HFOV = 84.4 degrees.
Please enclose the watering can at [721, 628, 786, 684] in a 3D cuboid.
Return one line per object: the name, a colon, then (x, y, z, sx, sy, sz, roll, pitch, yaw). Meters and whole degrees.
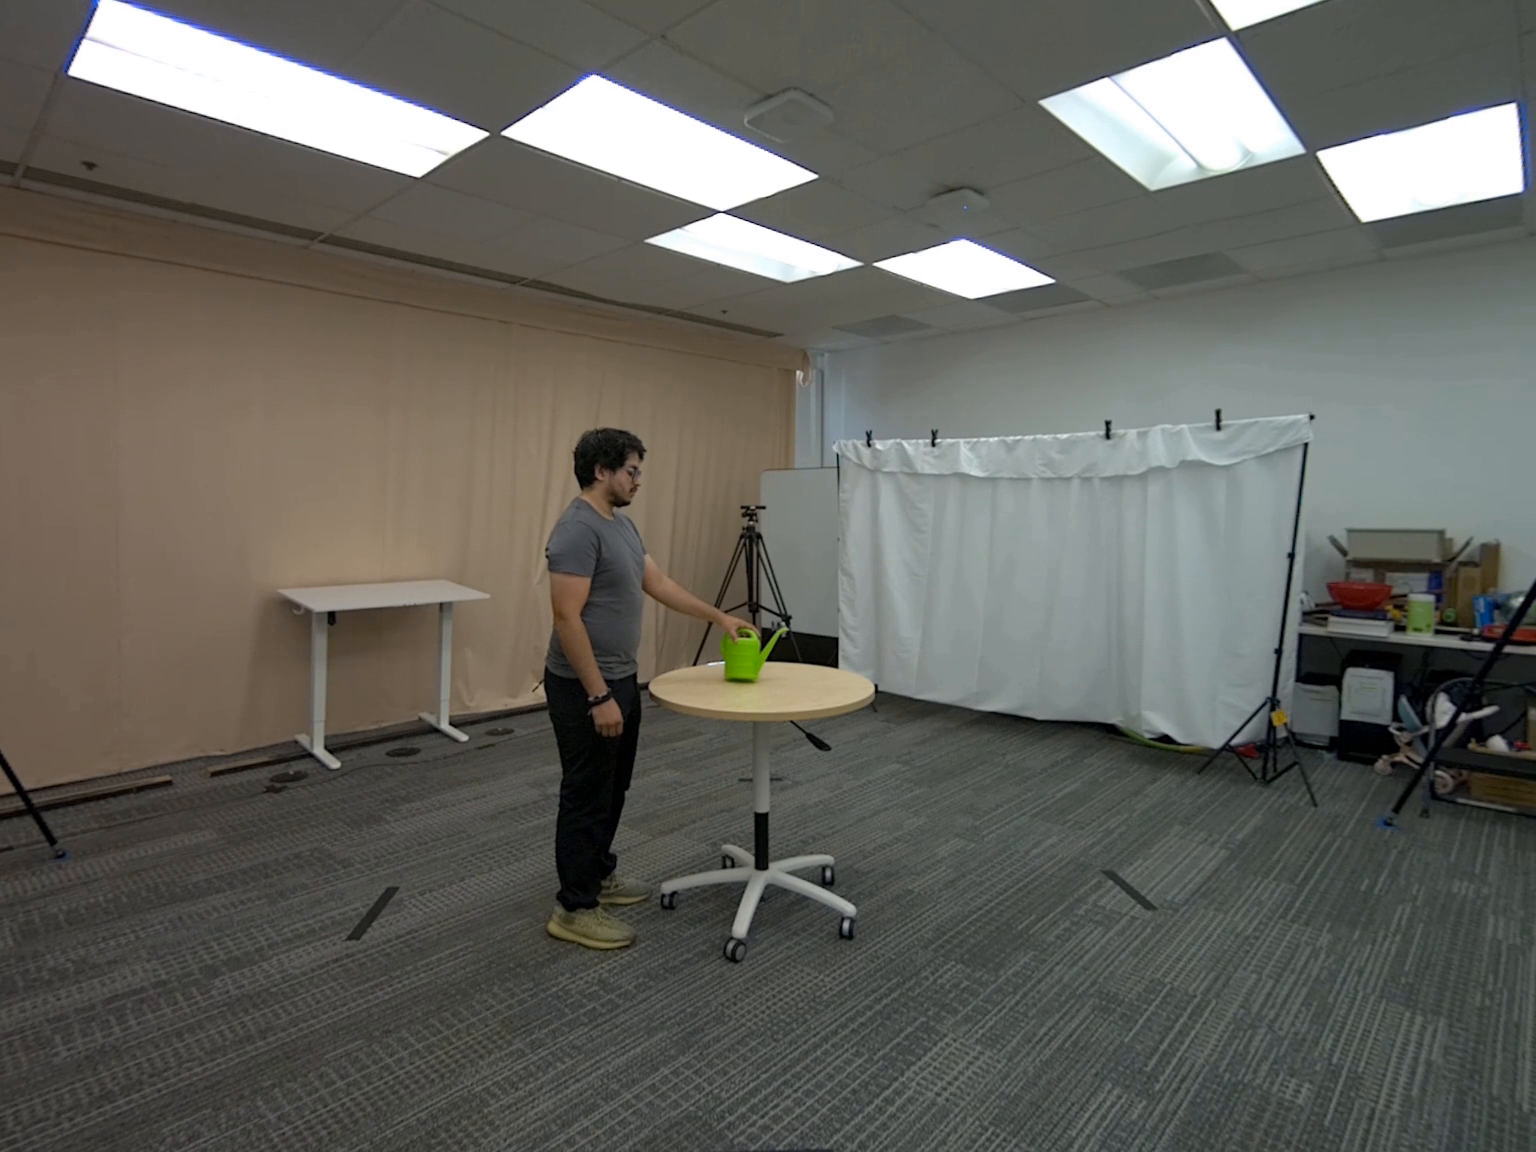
watering can: (-0.056, 0.269, 2.888, 0.095, 0.178, 0.286, 9, -10, -41)
